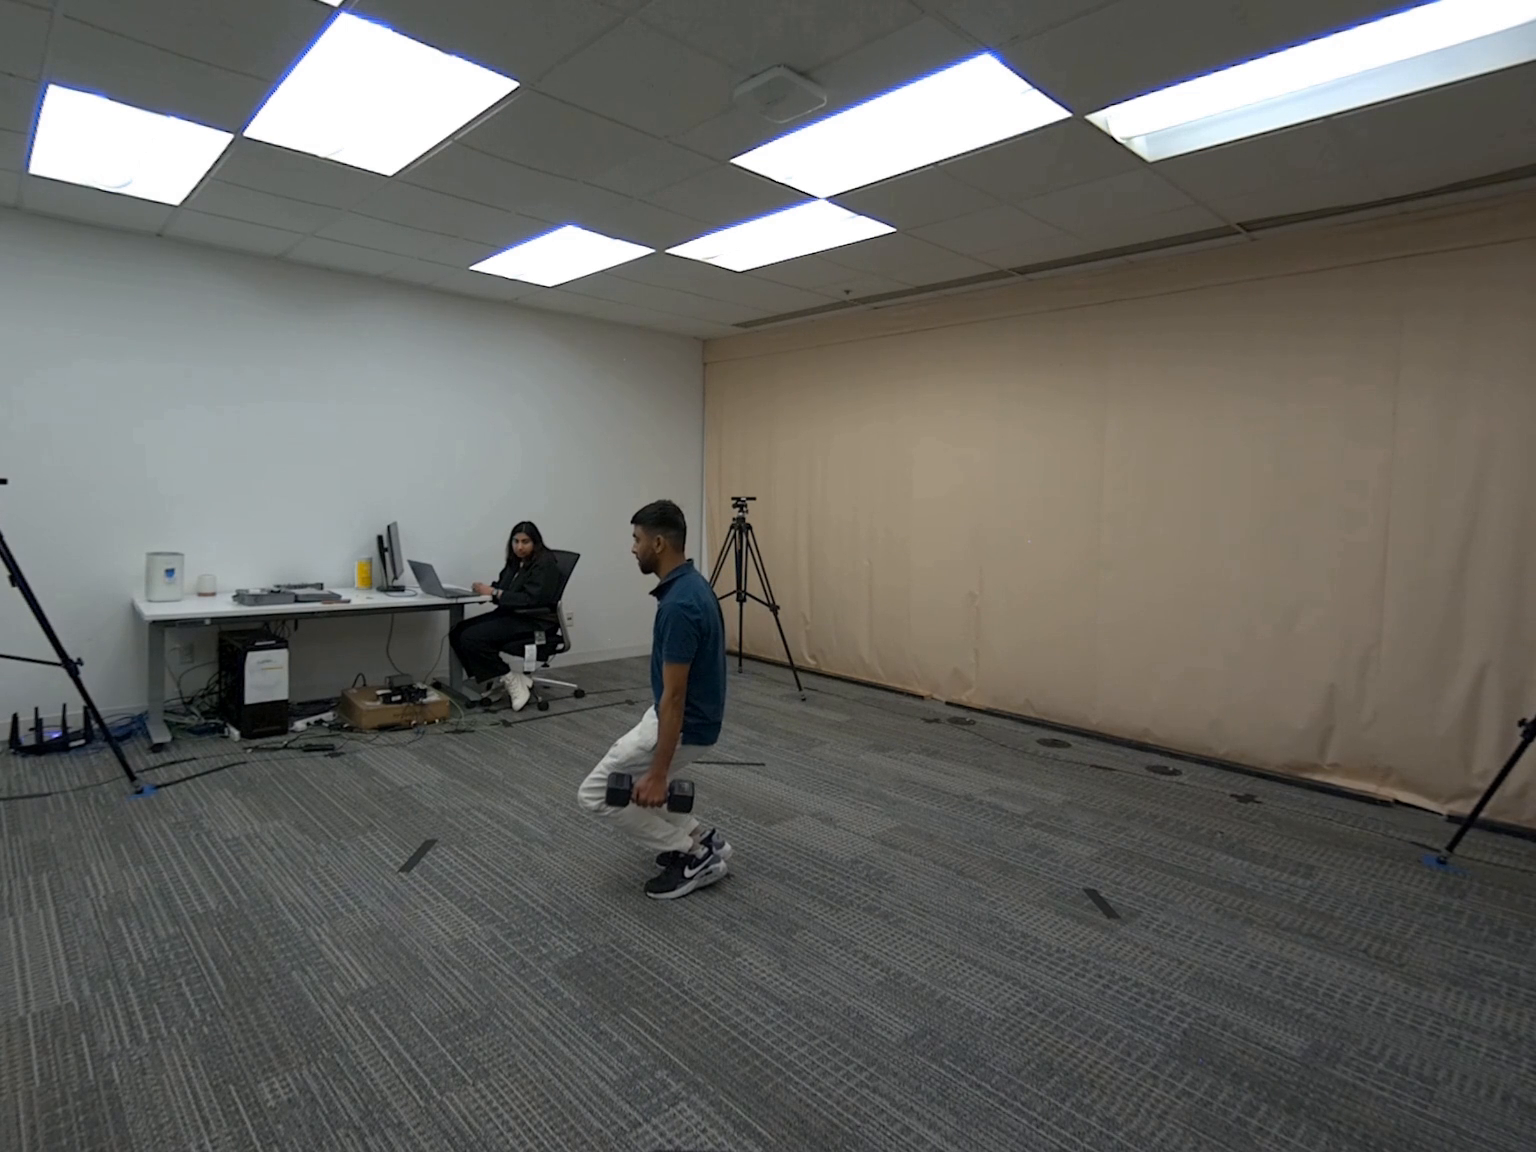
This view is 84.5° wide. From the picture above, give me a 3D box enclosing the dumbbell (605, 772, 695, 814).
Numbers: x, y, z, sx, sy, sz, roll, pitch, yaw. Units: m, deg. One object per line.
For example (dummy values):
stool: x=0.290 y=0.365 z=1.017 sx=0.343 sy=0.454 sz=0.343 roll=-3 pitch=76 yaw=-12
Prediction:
dumbbell: x=-0.407 y=0.727 z=2.833 sx=0.291 sy=0.122 sz=0.110 roll=7 pitch=8 yaw=-11
